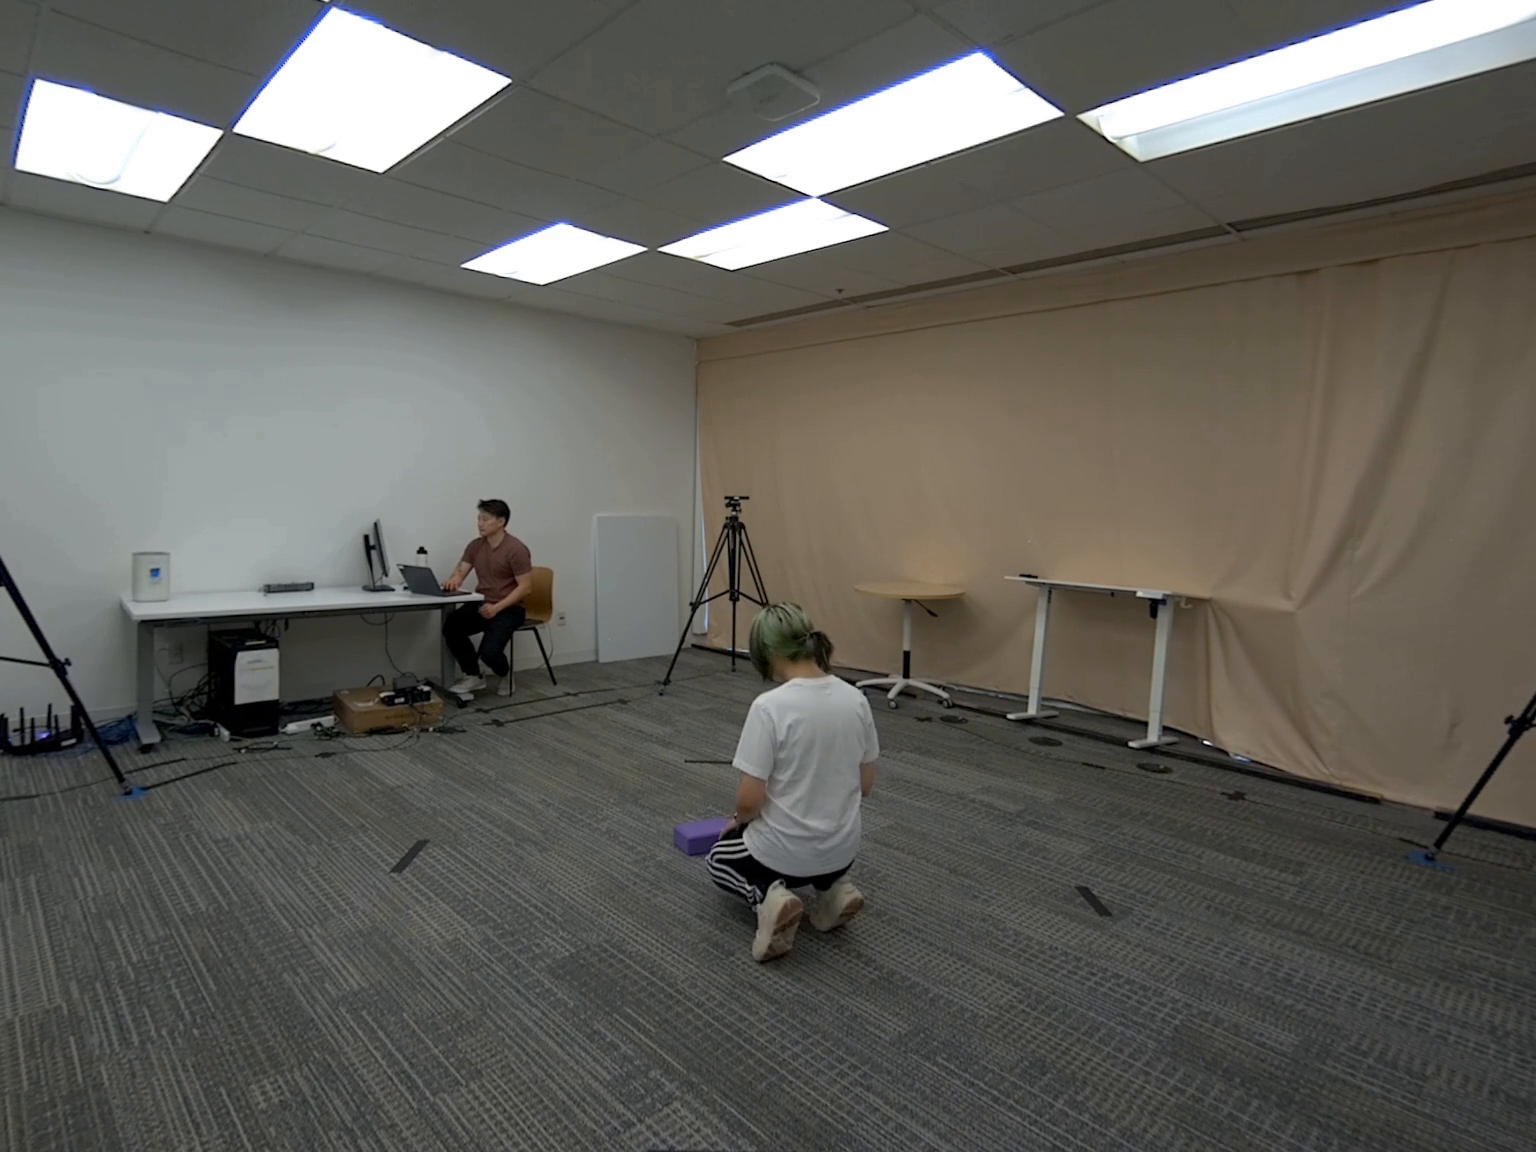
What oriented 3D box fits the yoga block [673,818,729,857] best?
[{"bbox_3d":[-0.251,1.035,3.365,0.225,0.076,0.152,-3,5,-29],"label":"yoga block"}]
